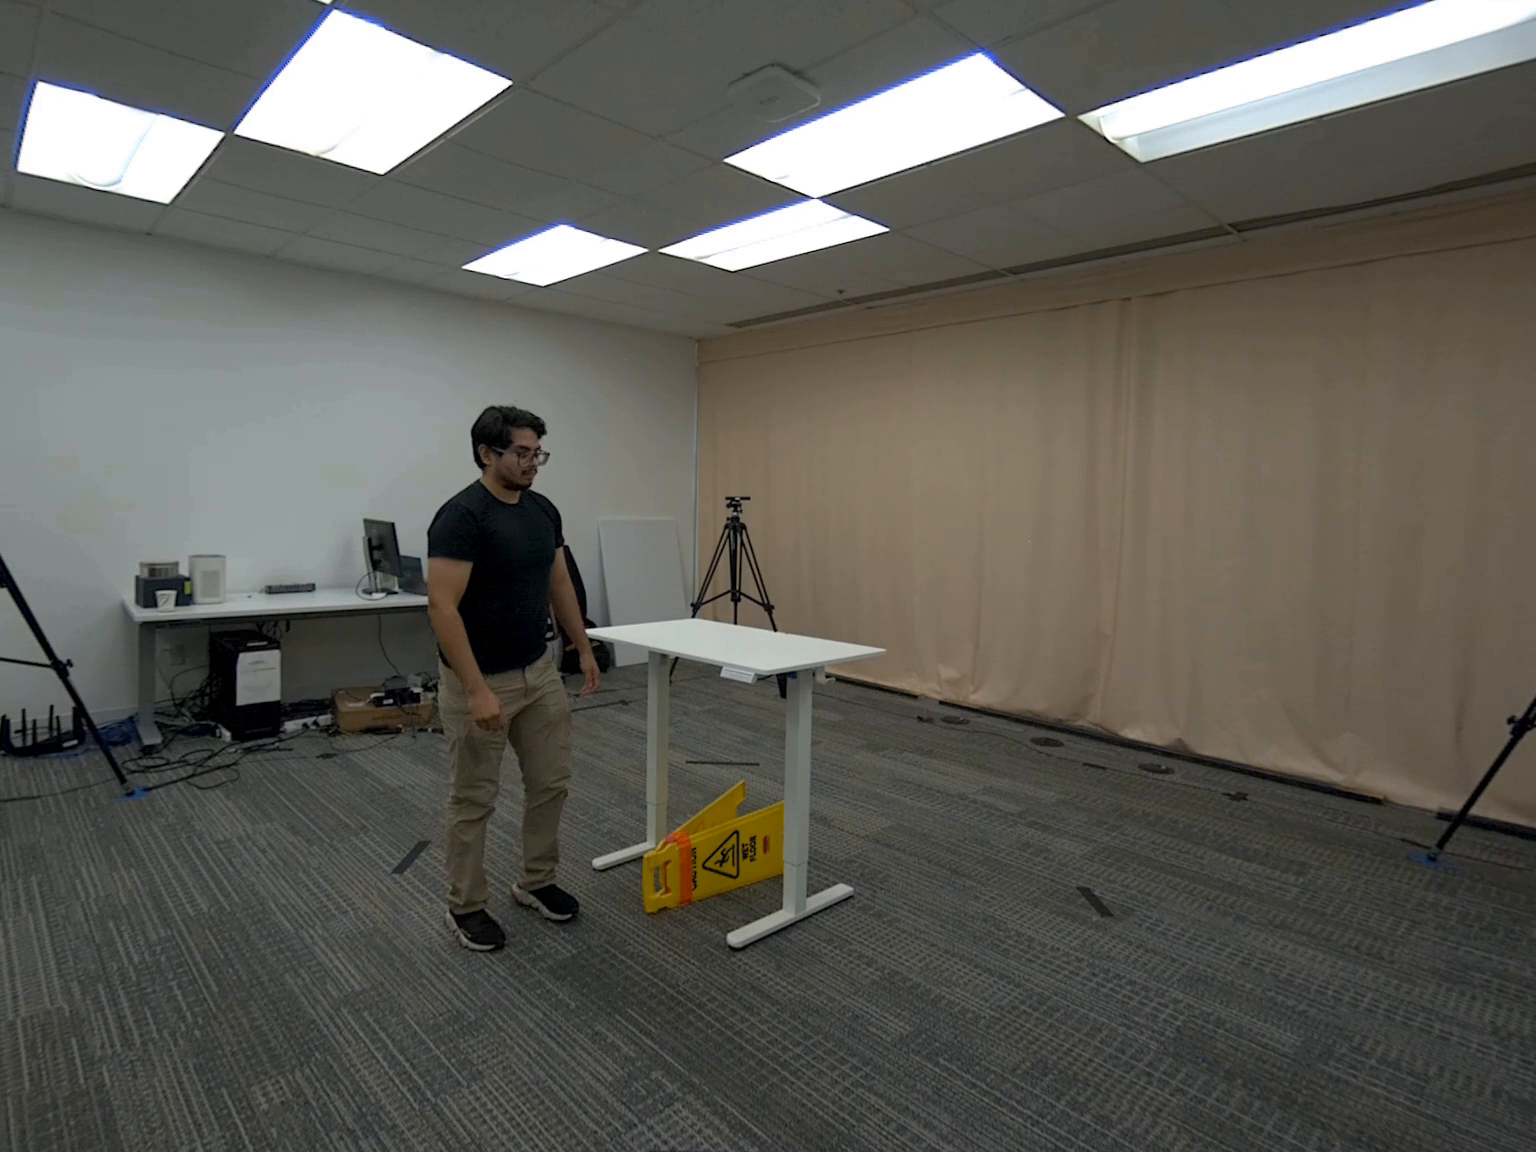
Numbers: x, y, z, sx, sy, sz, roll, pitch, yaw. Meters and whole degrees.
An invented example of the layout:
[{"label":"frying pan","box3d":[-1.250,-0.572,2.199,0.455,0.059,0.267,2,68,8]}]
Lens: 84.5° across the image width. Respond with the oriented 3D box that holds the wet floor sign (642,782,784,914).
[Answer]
[{"label":"wet floor sign","box3d":[-0.200,0.991,3.015,0.297,0.281,0.633,5,9,41]}]
